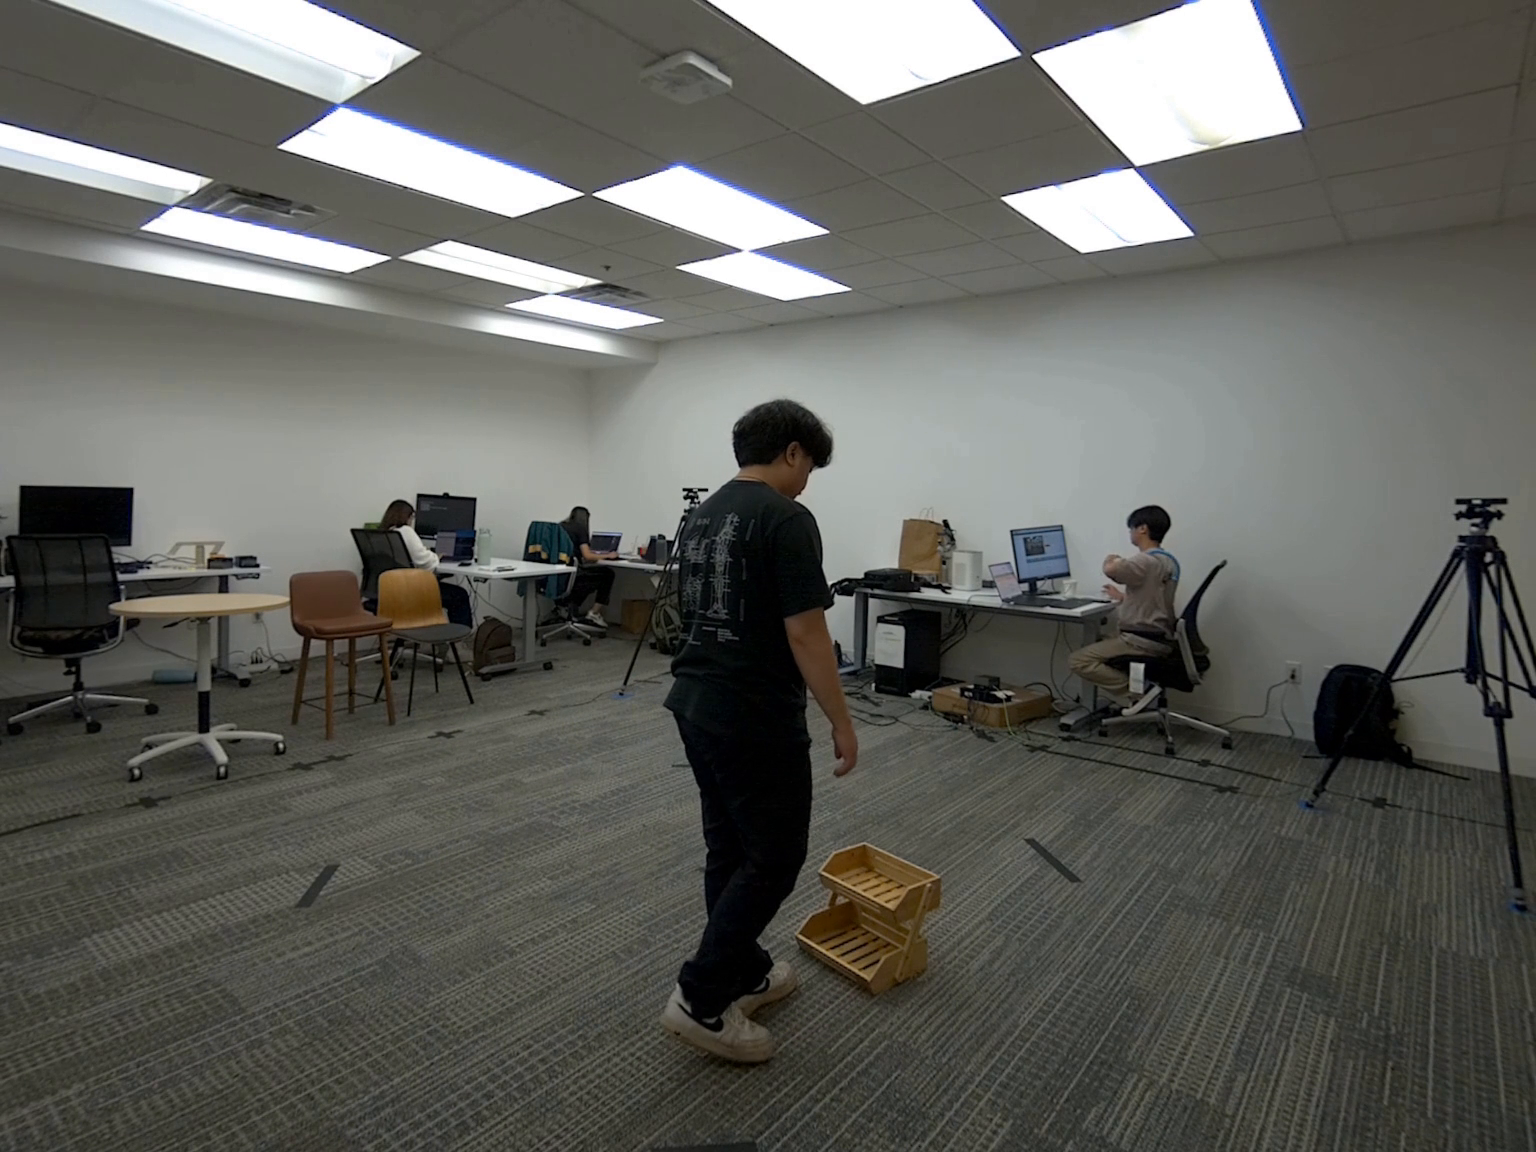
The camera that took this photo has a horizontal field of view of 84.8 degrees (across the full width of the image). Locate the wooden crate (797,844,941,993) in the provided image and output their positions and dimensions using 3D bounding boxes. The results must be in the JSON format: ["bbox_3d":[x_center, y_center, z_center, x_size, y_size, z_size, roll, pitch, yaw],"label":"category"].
[{"bbox_3d":[0.290,1.003,2.543,0.293,0.272,0.335,-1,5,-40],"label":"wooden crate"}]
